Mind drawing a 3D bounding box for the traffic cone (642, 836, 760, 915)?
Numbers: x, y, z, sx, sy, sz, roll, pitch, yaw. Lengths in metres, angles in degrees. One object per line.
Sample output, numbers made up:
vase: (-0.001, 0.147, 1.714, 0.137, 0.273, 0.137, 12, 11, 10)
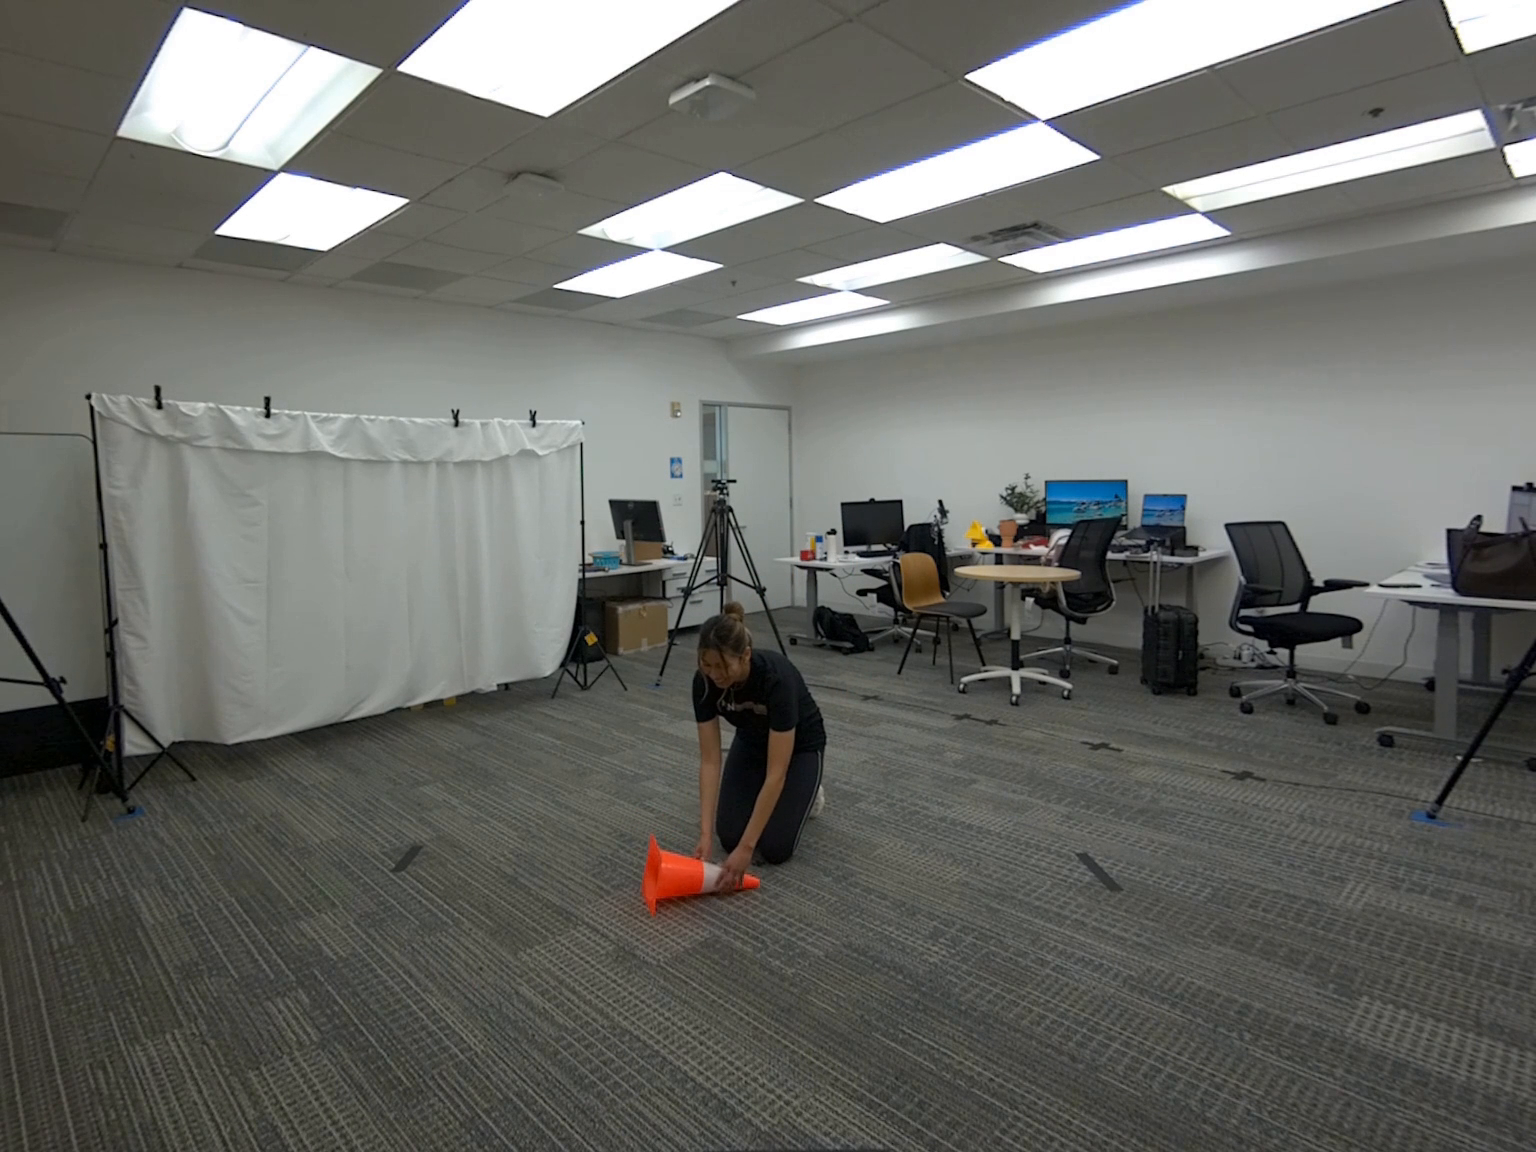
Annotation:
traffic cone: (-0.204, 1.018, 2.883, 0.376, 0.204, 0.207, 9, 3, -18)
